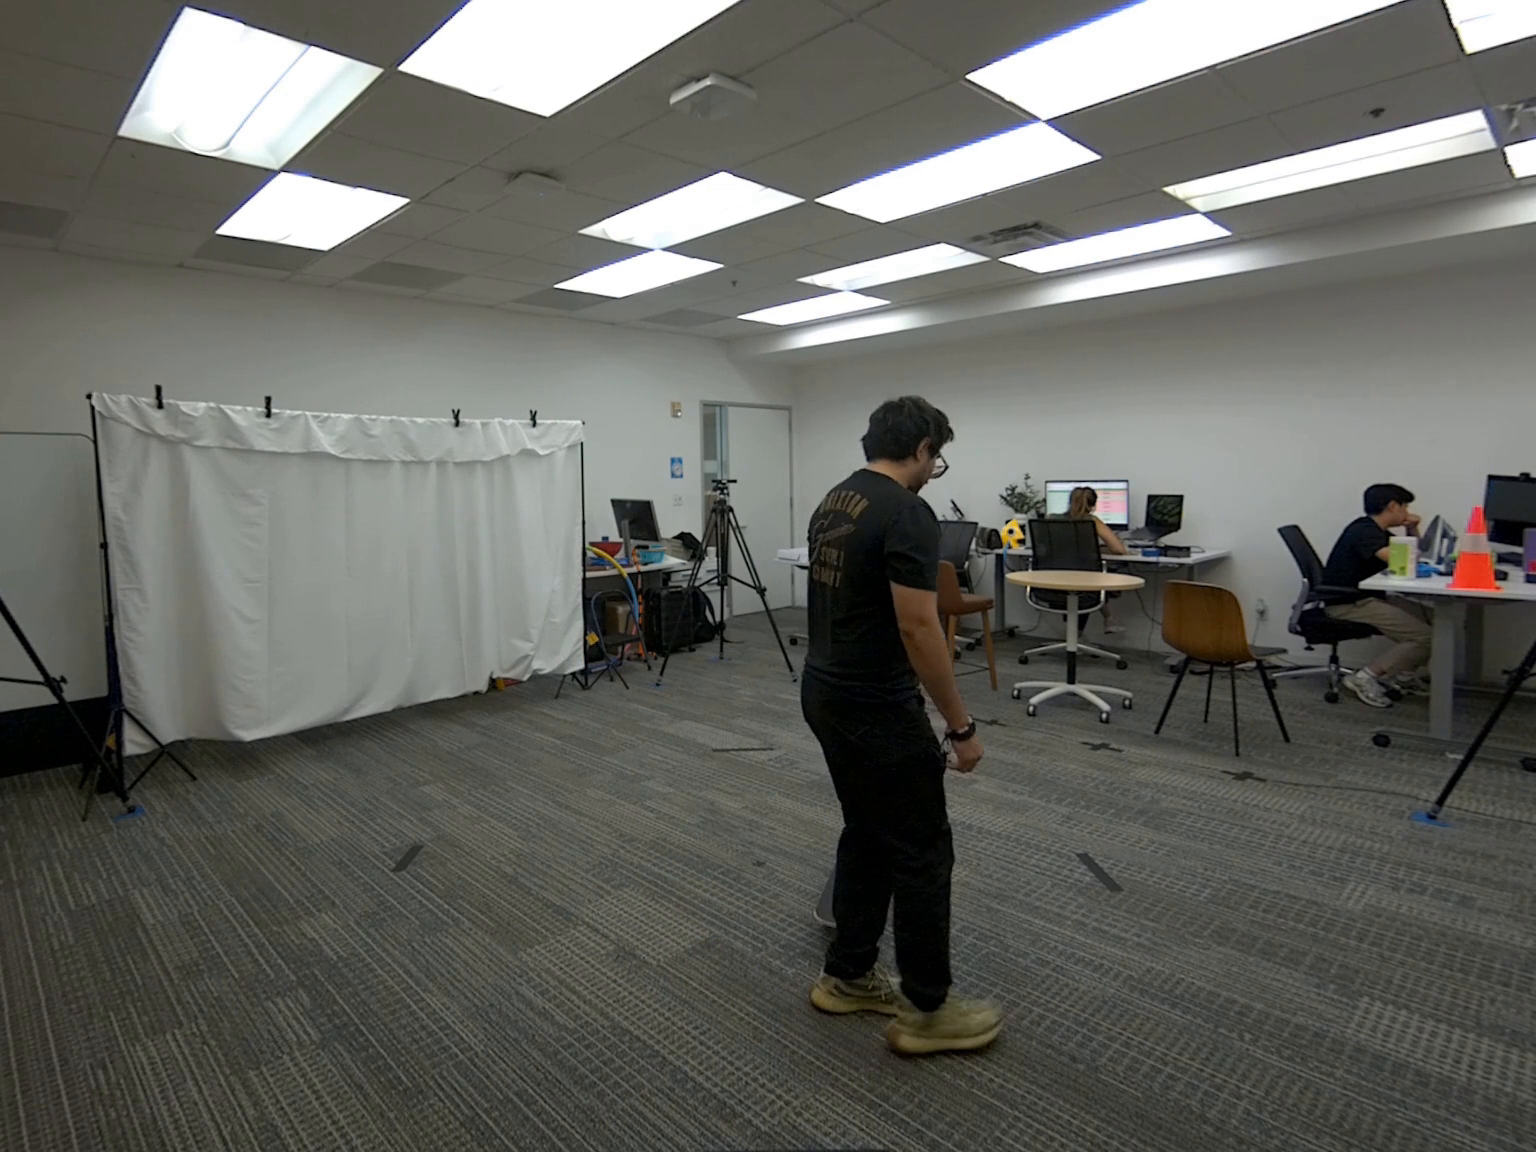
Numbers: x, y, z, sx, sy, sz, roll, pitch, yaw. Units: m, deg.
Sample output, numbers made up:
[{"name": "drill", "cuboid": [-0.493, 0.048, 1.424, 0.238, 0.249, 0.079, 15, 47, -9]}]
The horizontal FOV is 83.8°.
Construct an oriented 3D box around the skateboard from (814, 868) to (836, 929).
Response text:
[{"name": "skateboard", "cuboid": [0.323, 1.012, 2.848, 0.196, 0.110, 0.777, 1, 7, 15]}]
